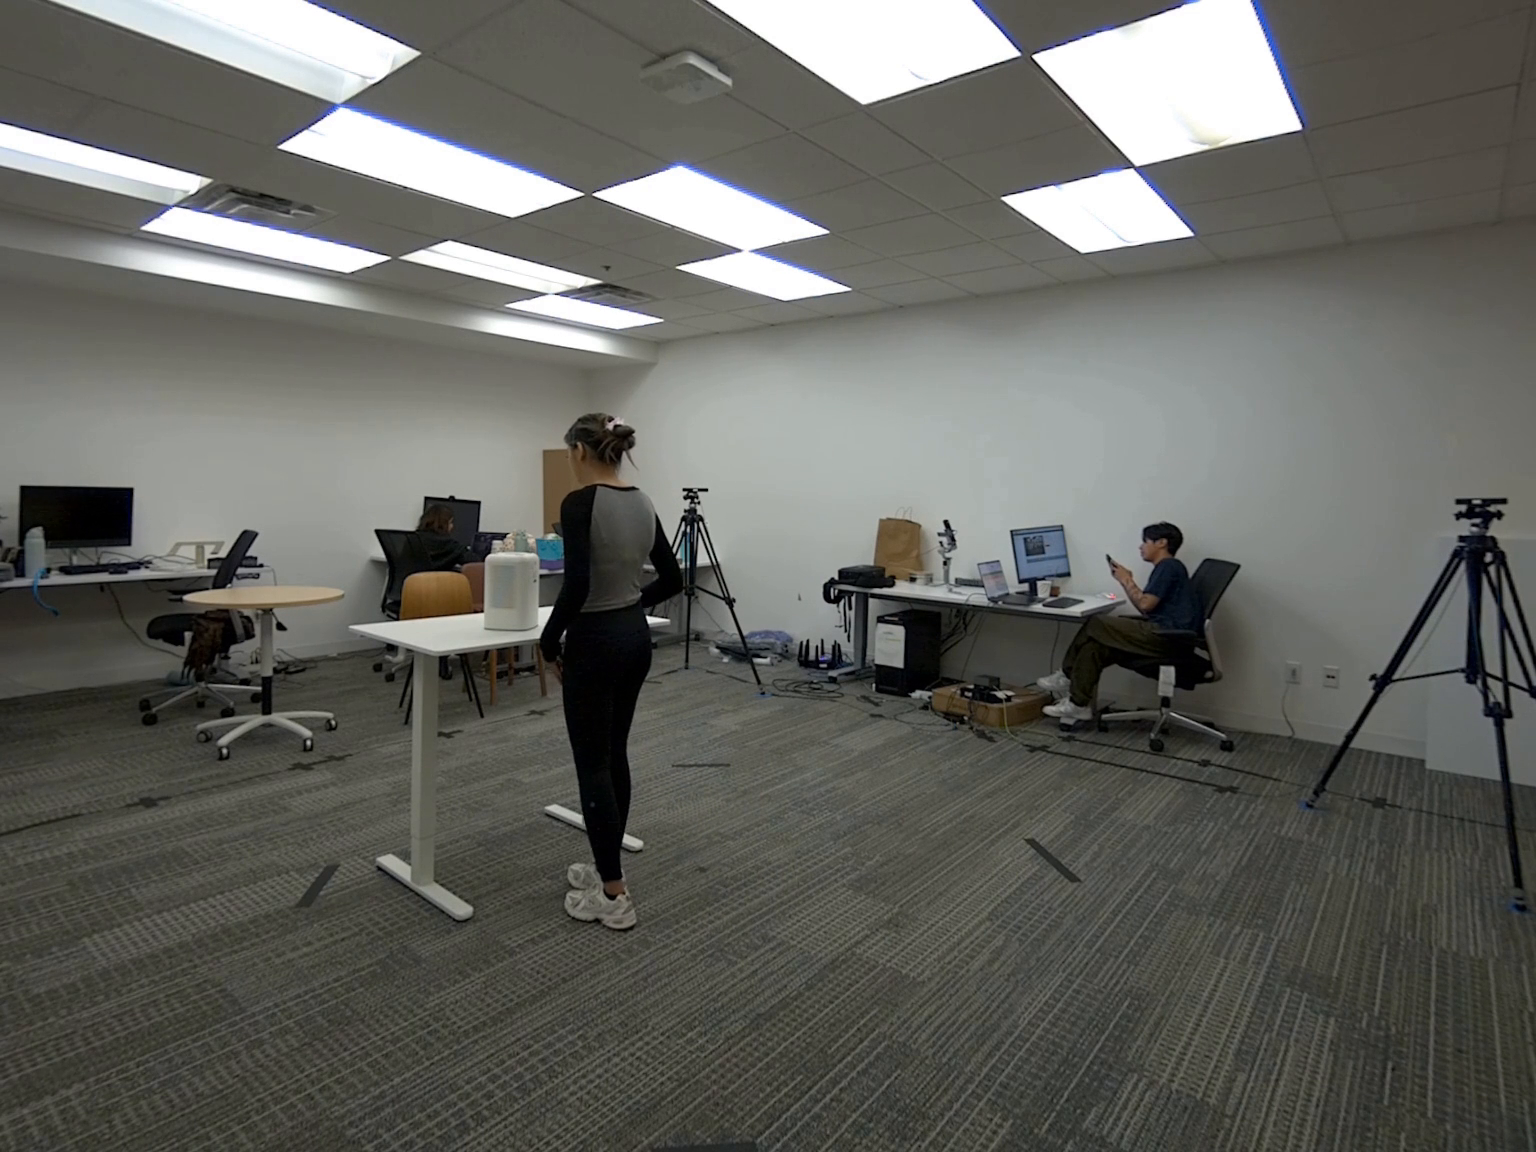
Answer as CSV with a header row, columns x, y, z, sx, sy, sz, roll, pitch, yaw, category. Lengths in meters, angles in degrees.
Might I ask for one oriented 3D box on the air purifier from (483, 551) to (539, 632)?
x,y,z,sx,sy,sz,roll,pitch,yaw,category
-0.936,0.049,3.044,0.173,0.264,0.170,3,4,8,air purifier
